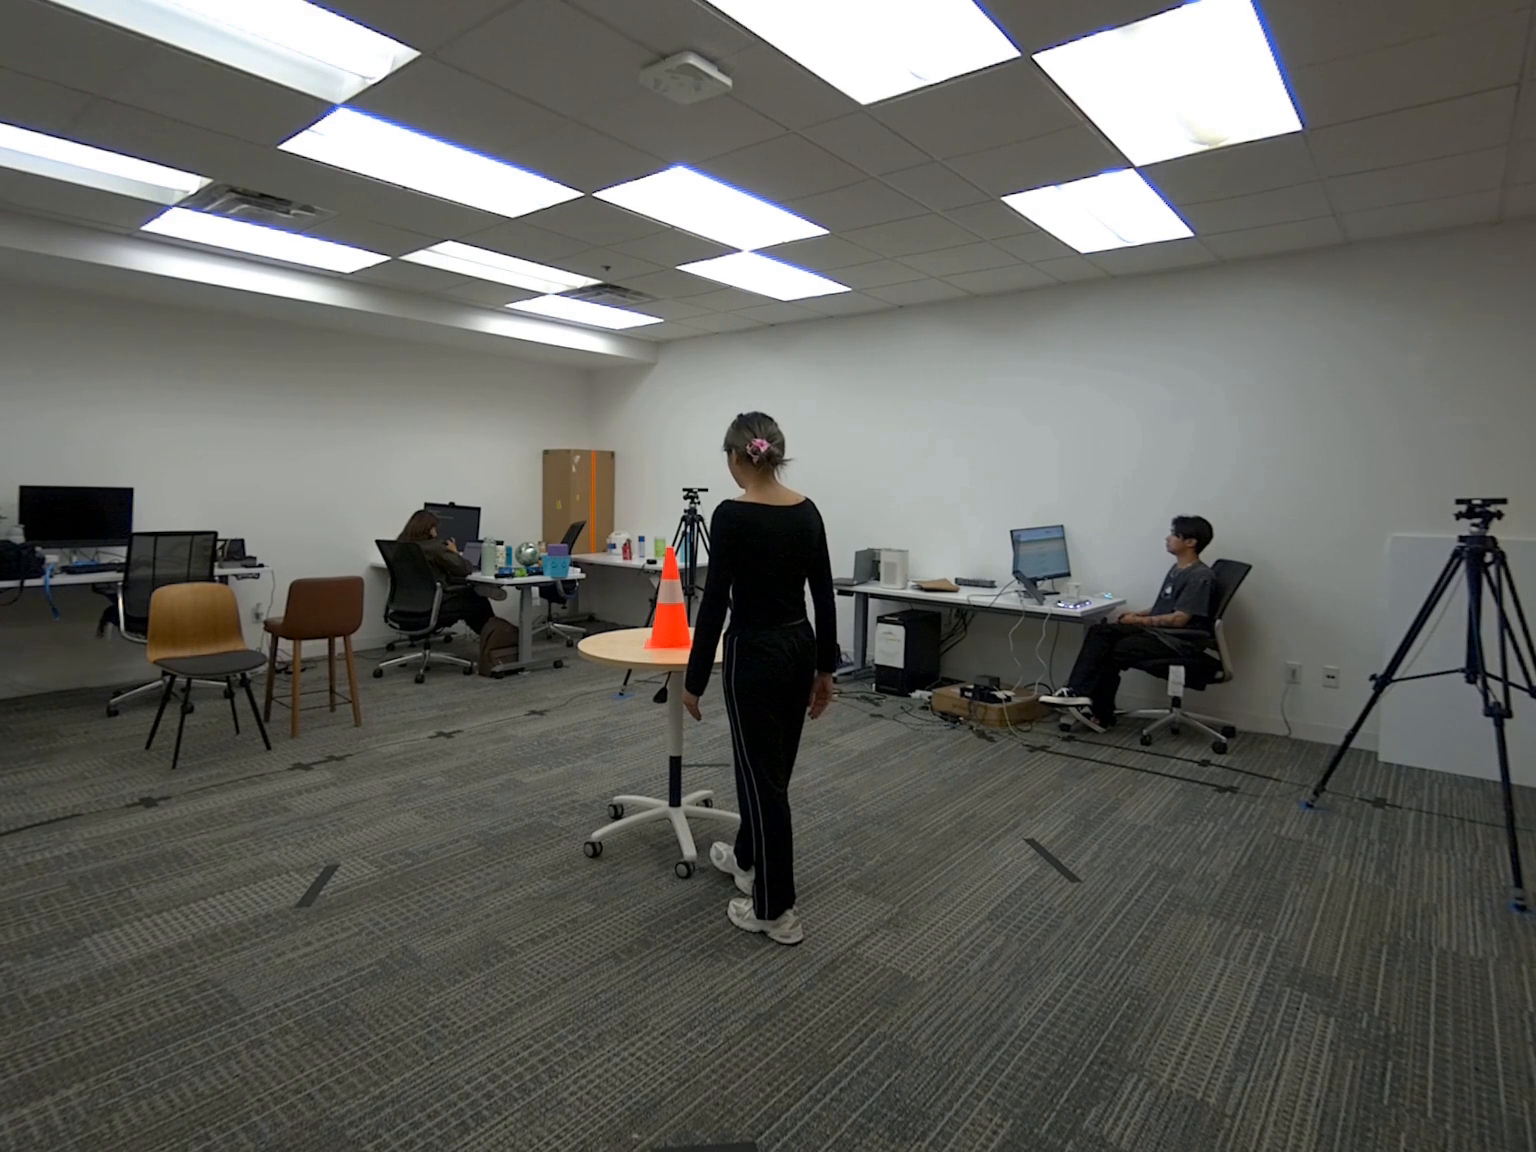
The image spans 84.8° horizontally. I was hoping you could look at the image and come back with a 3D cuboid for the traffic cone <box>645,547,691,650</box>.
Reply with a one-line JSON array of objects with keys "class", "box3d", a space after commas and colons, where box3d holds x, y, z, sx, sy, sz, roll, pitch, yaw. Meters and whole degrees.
[{"class": "traffic cone", "box3d": [-0.398, 0.076, 3.295, 0.204, 0.382, 0.204, -1, 3, -3]}]
